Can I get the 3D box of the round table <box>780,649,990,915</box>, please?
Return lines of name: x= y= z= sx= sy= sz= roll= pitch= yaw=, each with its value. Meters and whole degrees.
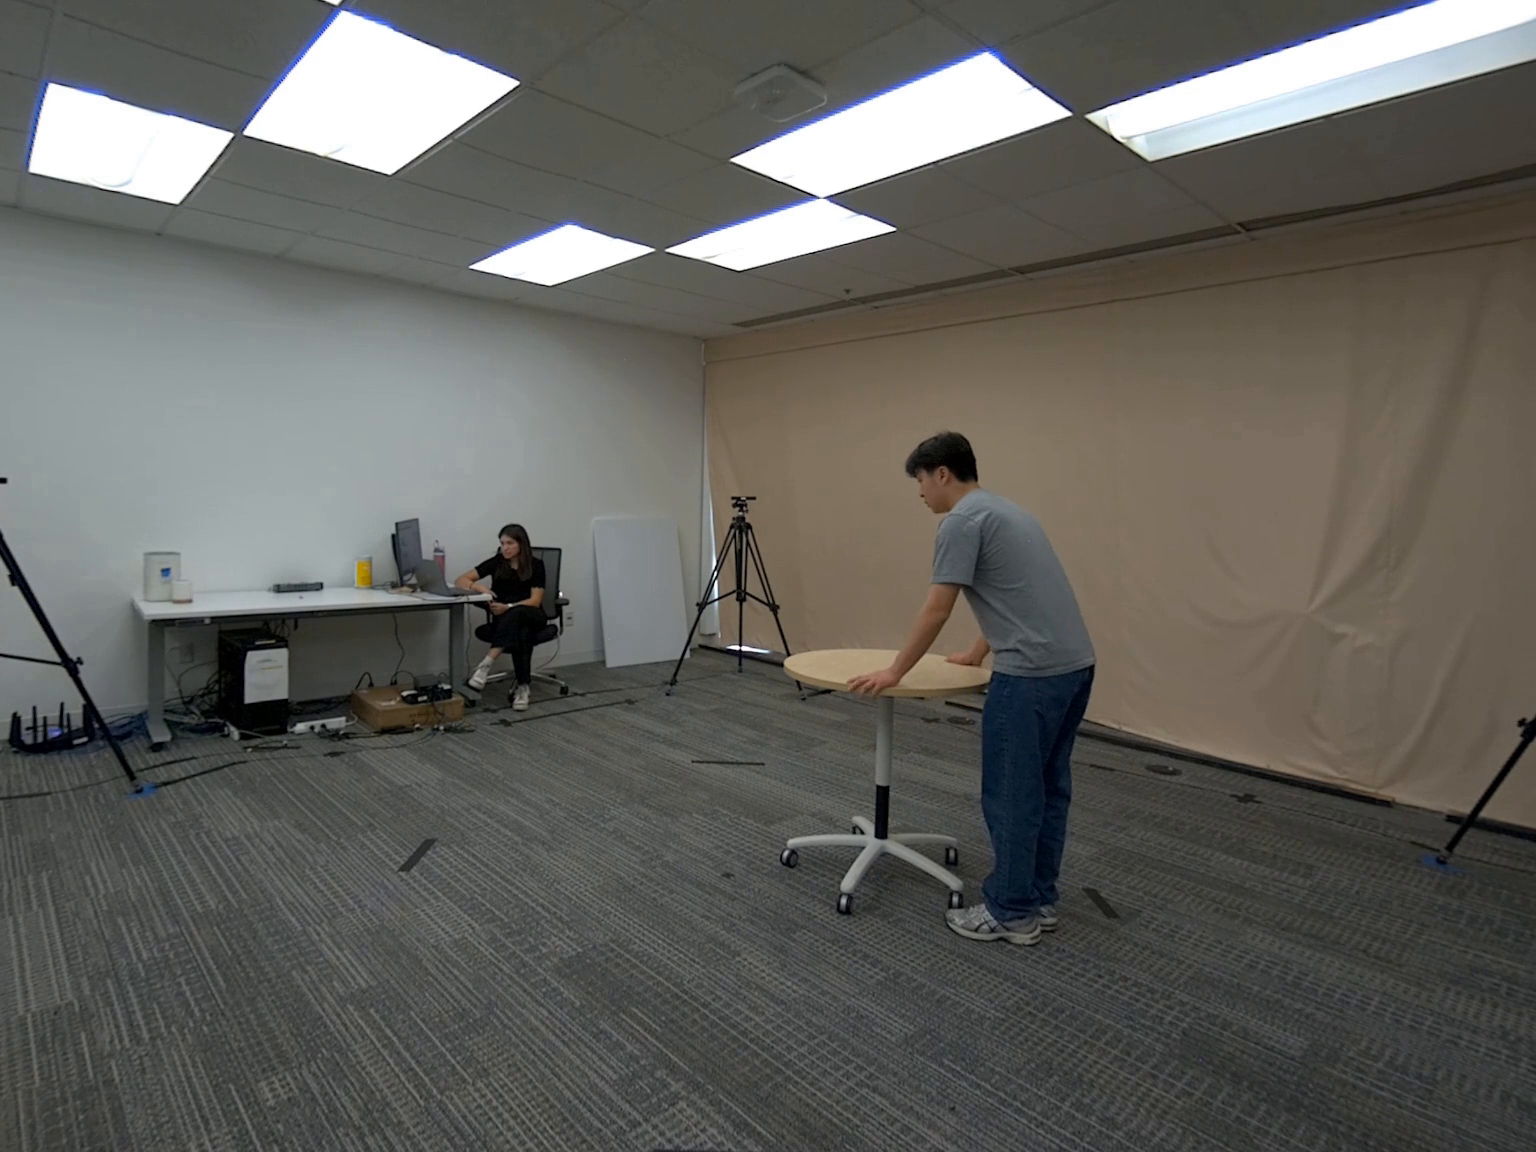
round table: x=0.418 y=0.729 z=3.132 sx=0.763 sy=0.792 sz=0.766 roll=2 pitch=4 yaw=-1
